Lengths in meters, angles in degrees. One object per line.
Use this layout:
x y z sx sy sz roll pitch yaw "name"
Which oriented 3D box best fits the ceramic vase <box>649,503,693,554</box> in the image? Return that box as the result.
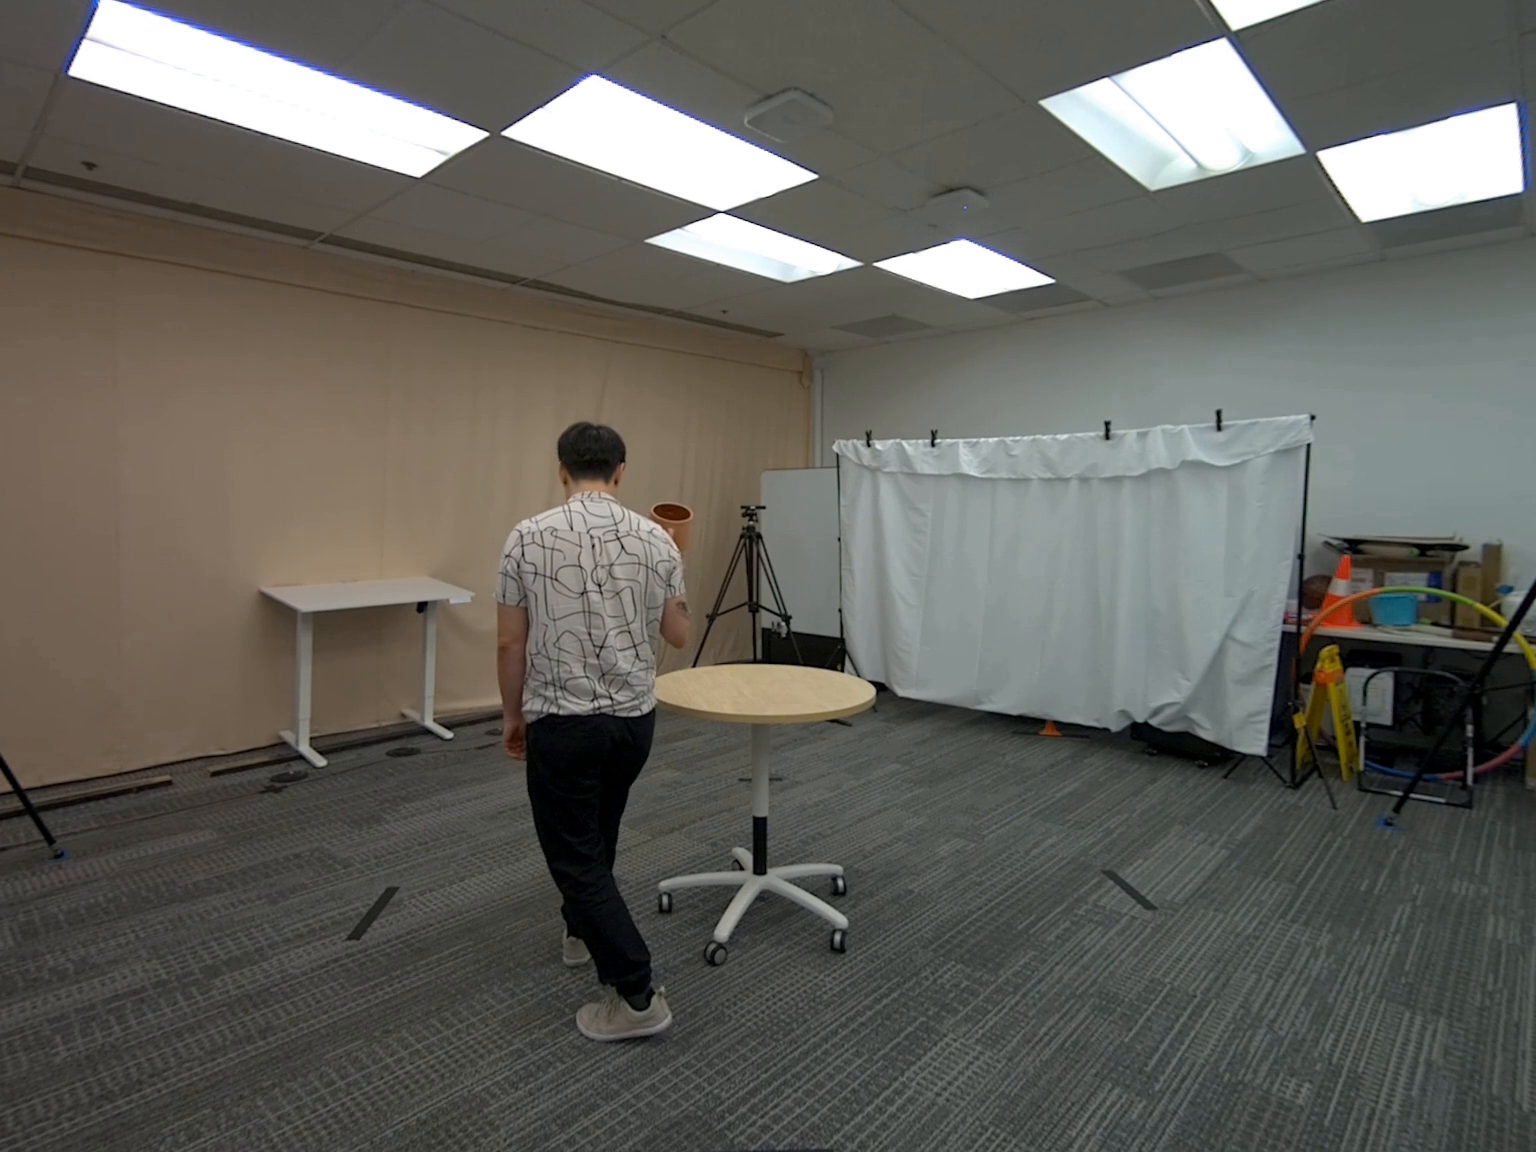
-0.311 -0.109 2.624 0.139 0.217 0.156 25 30 25 "ceramic vase"
